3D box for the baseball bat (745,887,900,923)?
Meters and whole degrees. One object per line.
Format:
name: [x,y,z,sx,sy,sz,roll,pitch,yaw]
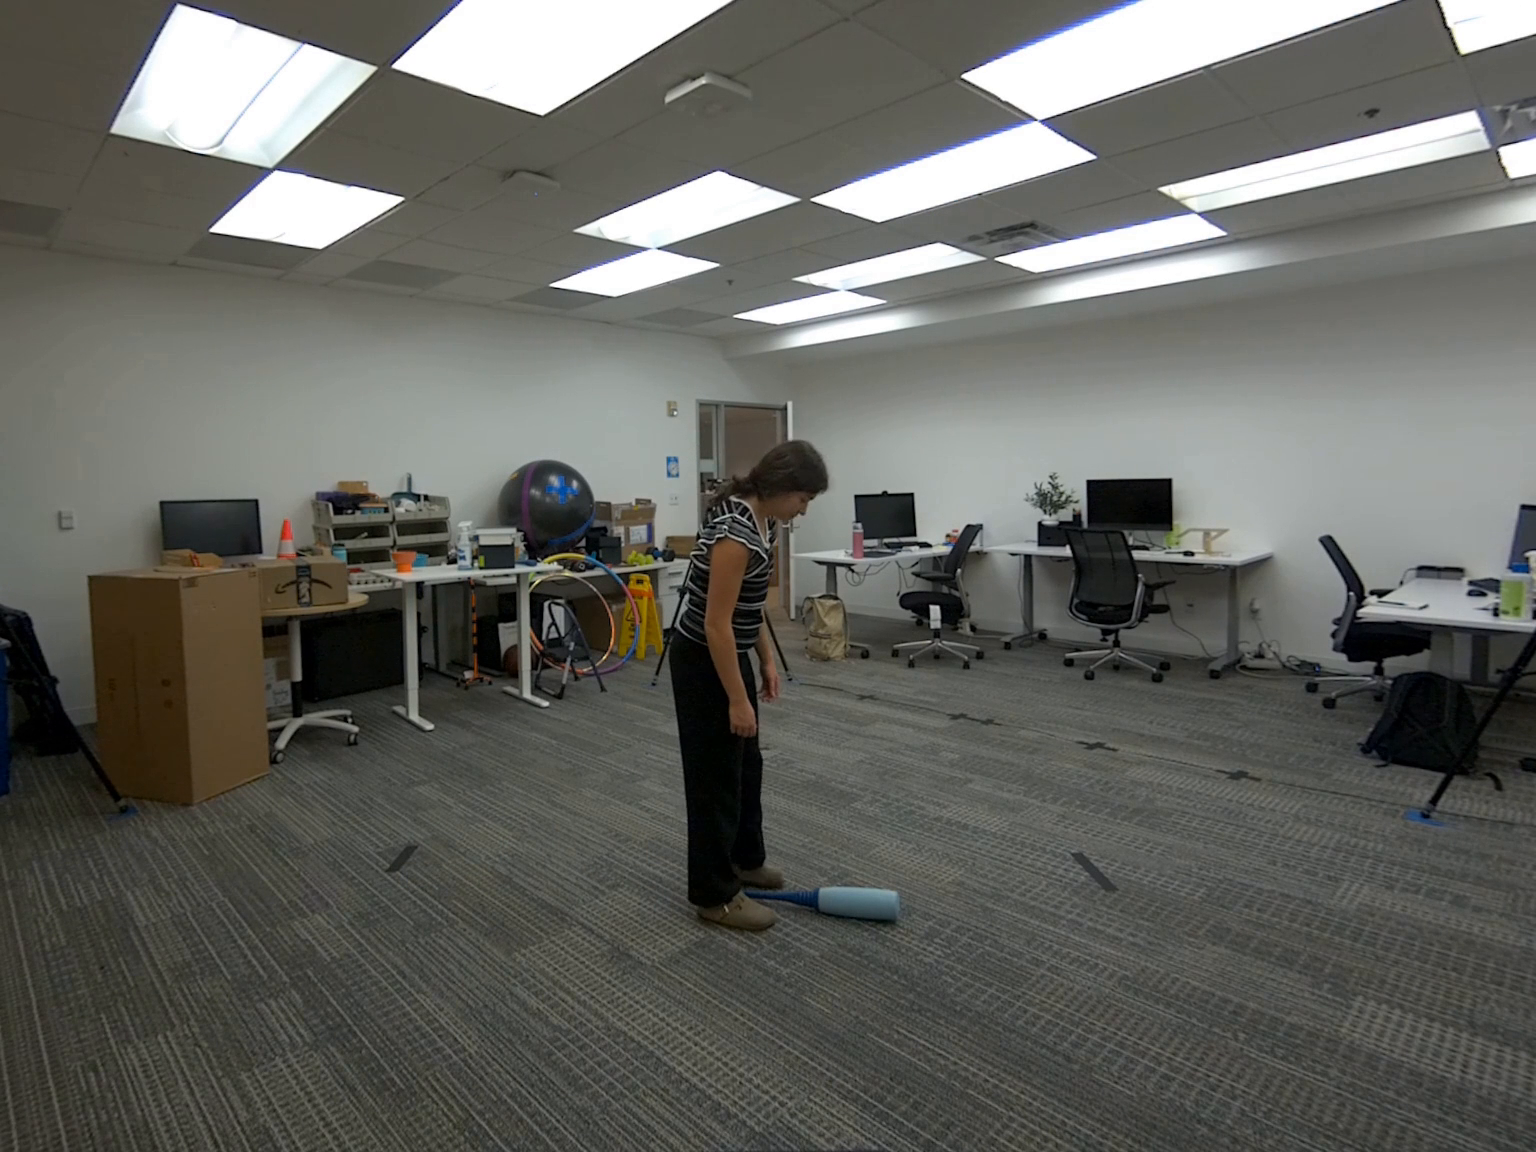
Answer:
baseball bat: [0.151,1.046,2.758,0.551,0.089,0.088,-2,4,16]
